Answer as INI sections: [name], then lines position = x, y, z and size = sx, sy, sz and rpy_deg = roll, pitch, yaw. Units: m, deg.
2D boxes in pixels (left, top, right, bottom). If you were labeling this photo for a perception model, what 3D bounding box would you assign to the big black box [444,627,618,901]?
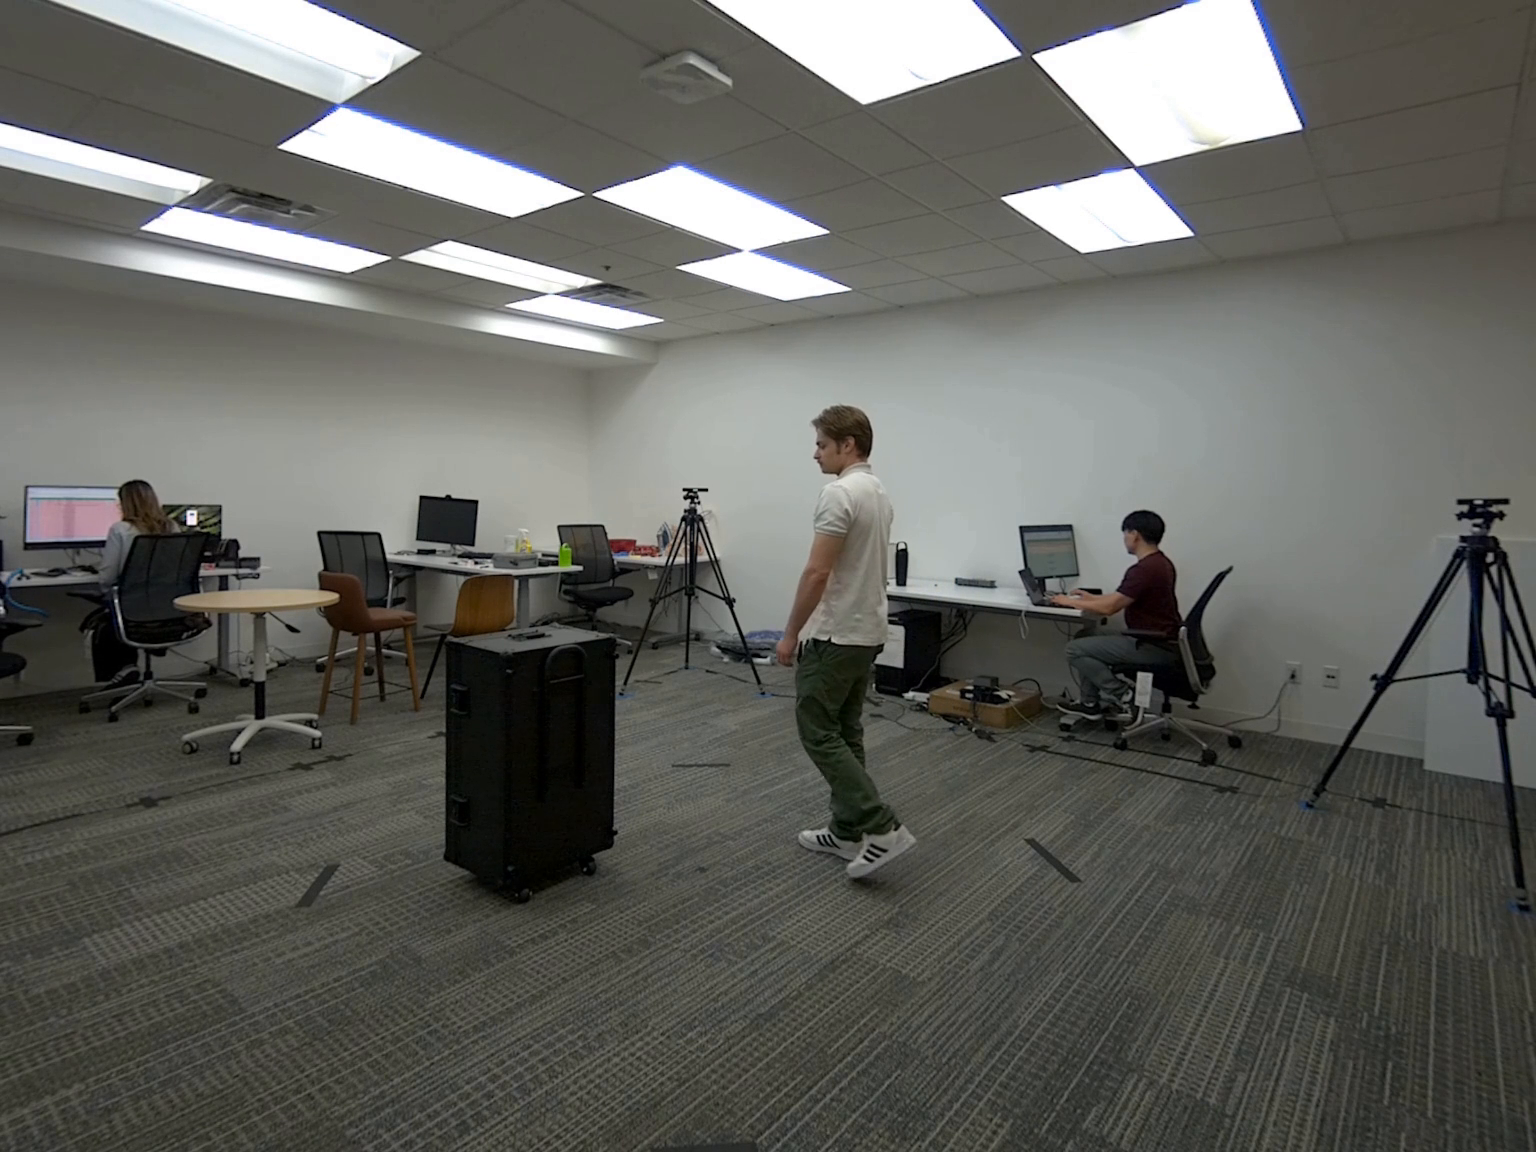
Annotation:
[big black box]
position = -0.849, 0.646, 3.039
size = 0.398, 0.866, 0.508
rpy_deg = 4, 4, 38
